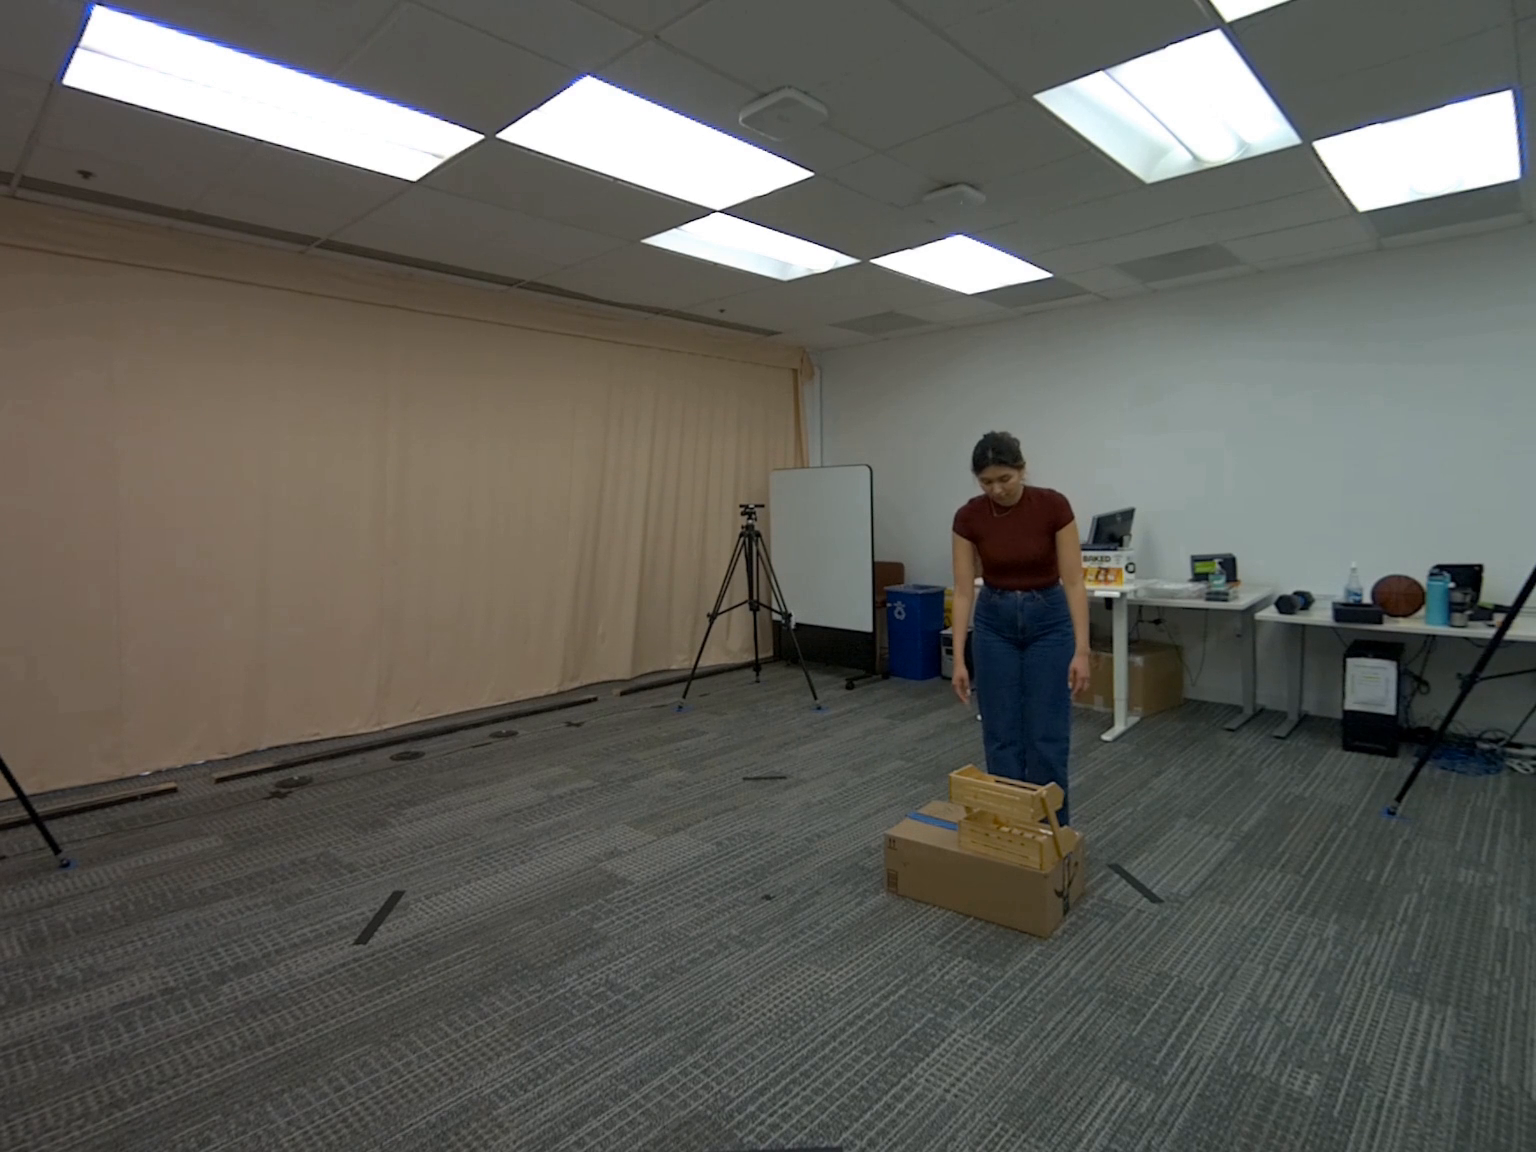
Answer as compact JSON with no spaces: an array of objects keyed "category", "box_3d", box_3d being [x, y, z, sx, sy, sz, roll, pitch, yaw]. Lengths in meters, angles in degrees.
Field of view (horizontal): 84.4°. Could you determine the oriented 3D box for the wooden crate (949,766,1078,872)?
[{"category":"wooden crate","box_3d":[0.830,0.790,2.833,0.335,0.273,0.293,1,5,44]}]
